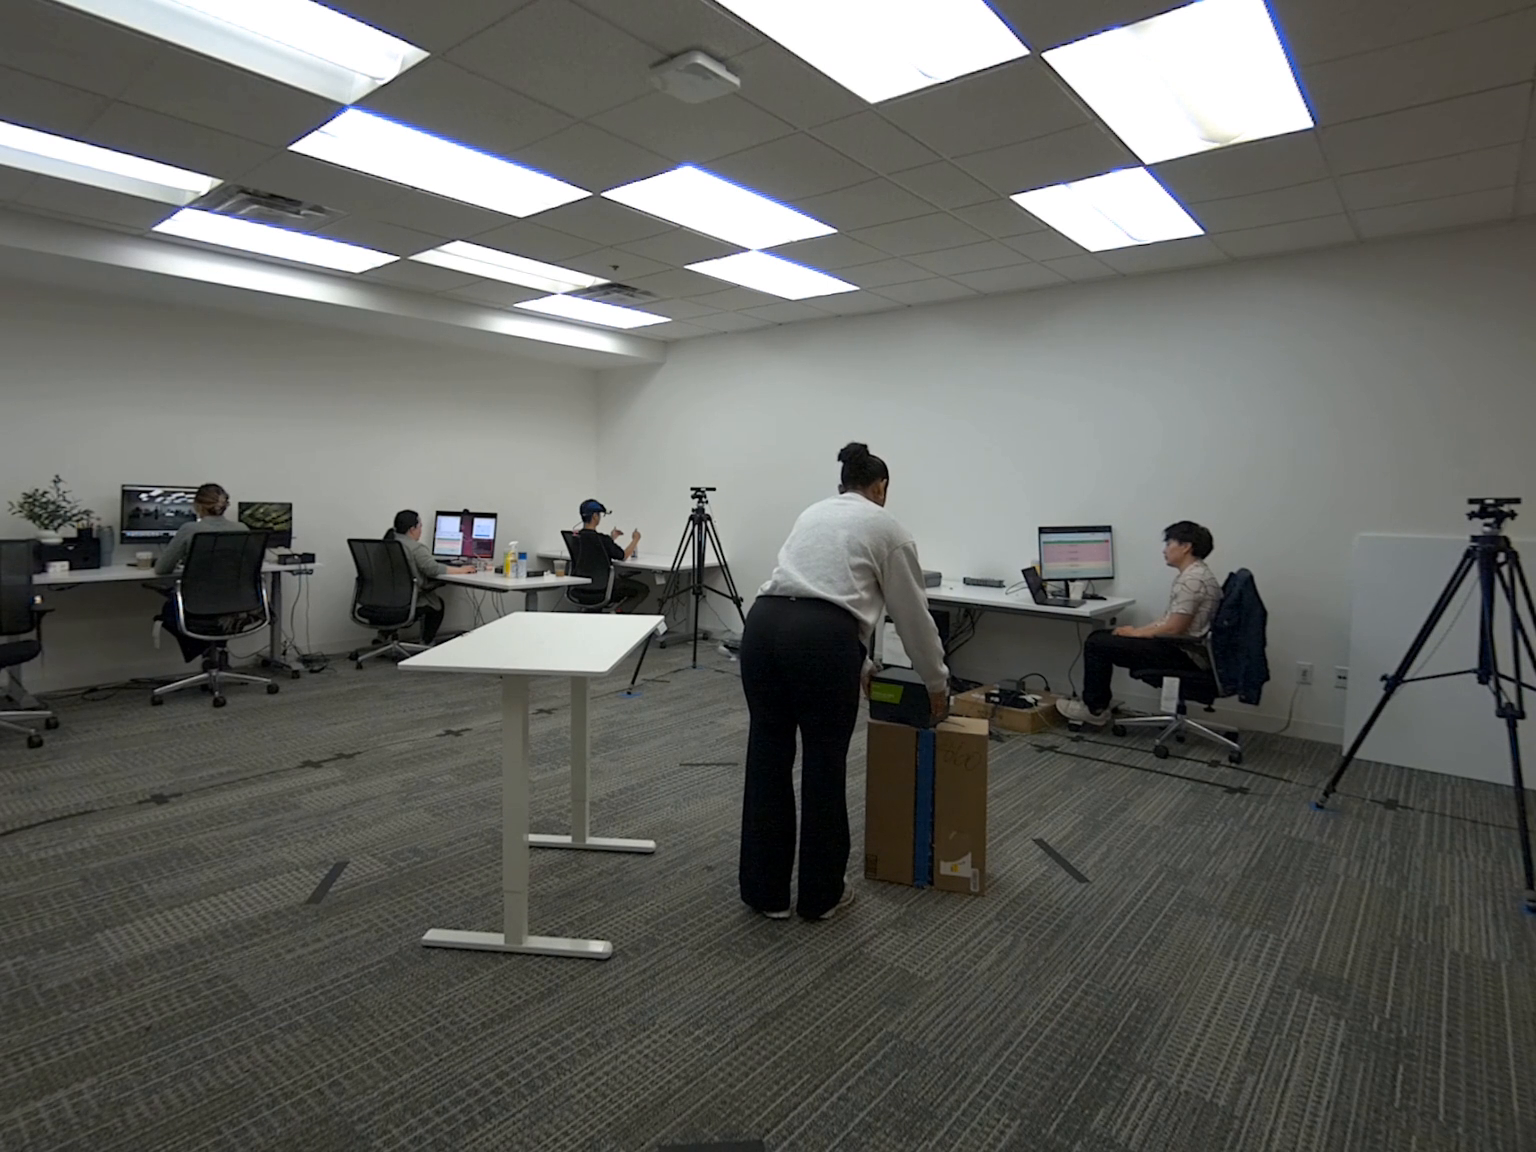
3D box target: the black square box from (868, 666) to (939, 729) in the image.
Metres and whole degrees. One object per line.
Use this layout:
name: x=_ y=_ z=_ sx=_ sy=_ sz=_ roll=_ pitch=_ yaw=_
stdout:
black square box: x=0.511 y=0.432 z=3.104 sx=0.235 sy=0.155 sz=0.211 roll=5 pitch=5 yaw=31
